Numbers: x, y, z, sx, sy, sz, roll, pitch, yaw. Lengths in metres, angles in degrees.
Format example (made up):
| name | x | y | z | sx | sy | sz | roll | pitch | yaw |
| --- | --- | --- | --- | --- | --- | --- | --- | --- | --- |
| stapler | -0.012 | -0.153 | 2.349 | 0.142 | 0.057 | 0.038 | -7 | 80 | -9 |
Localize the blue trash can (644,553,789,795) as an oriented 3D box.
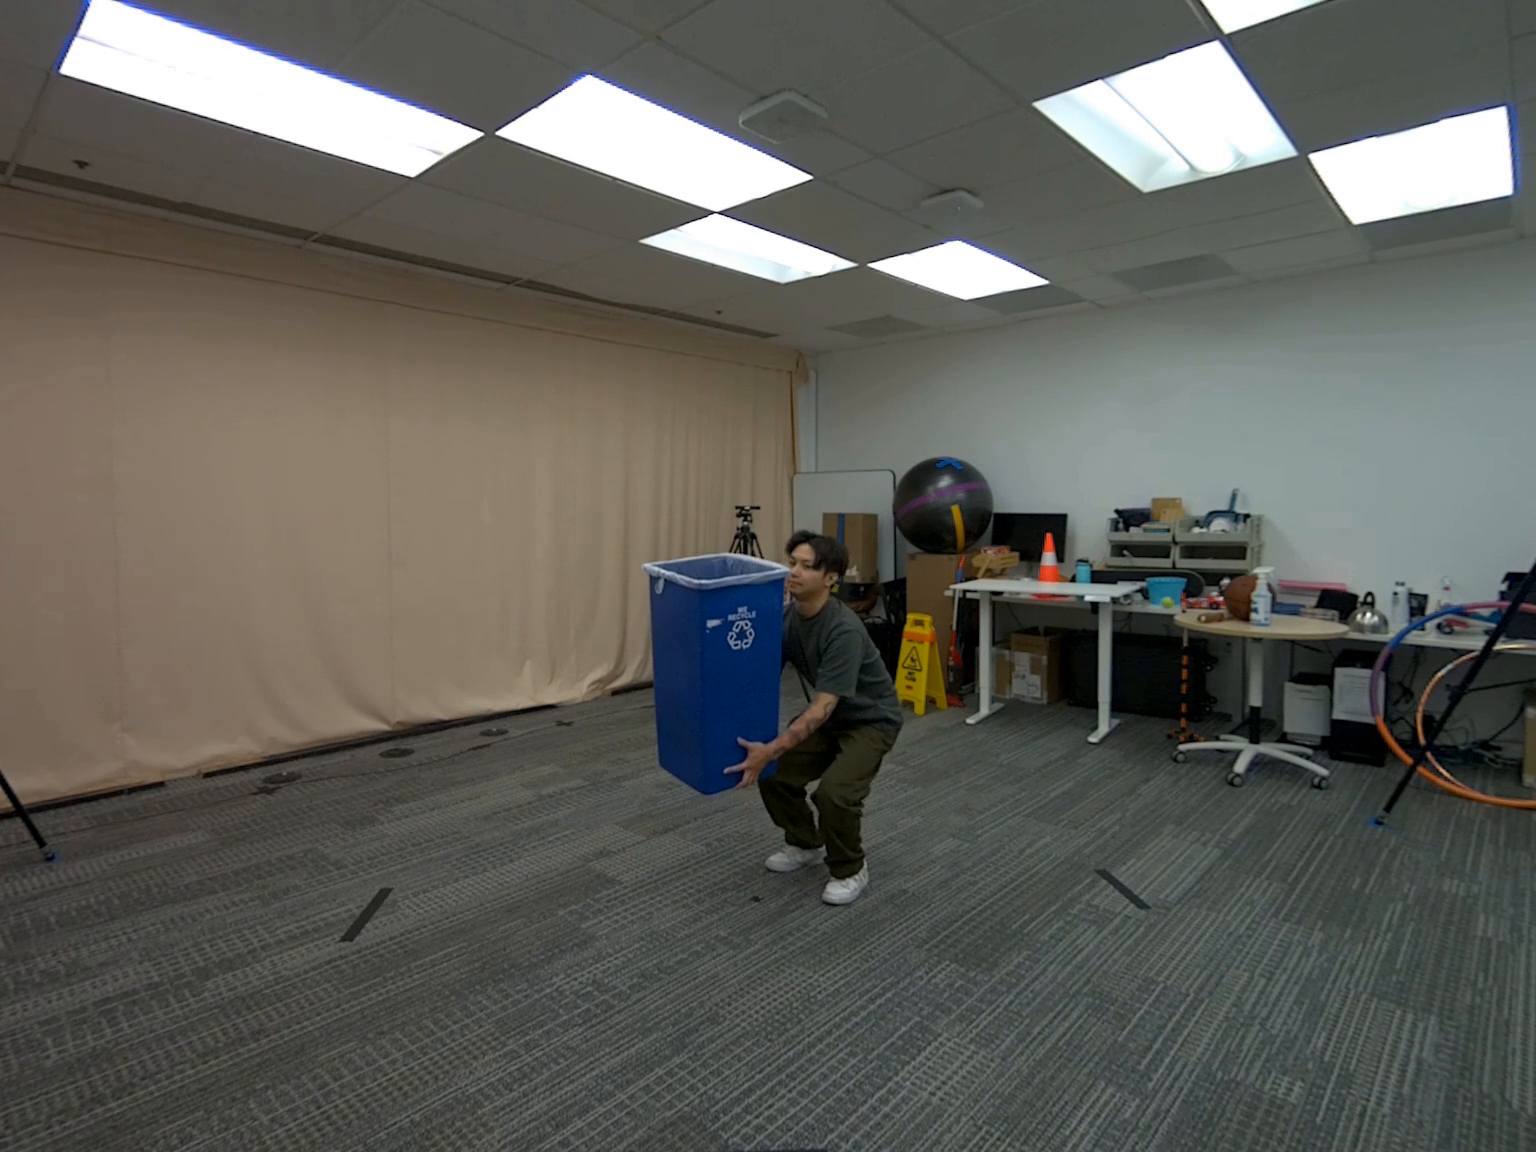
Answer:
| name | x | y | z | sx | sy | sz | roll | pitch | yaw |
| --- | --- | --- | --- | --- | --- | --- | --- | --- | --- |
| blue trash can | -0.163 | 0.317 | 2.840 | 0.368 | 0.709 | 0.387 | -8 | 13 | -36 |
